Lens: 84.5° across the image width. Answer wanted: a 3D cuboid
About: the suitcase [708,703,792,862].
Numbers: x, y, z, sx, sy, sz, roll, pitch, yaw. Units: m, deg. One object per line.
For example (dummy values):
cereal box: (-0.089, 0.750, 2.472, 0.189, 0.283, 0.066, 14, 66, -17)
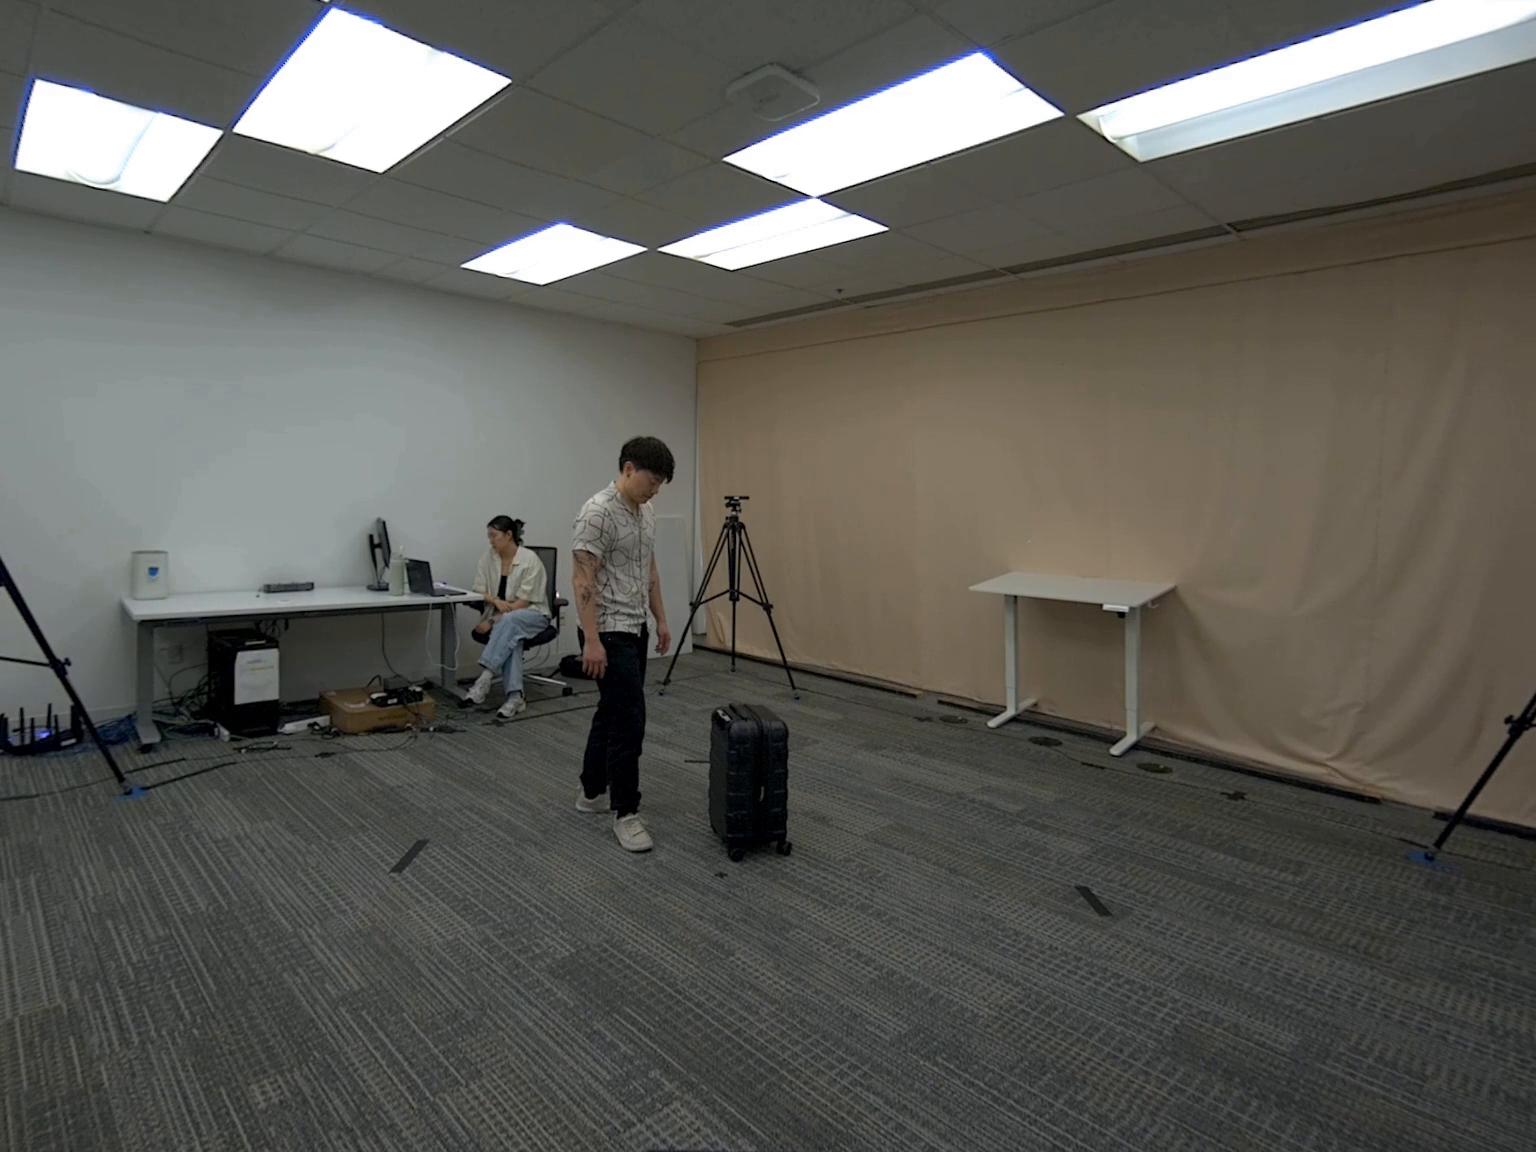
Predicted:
suitcase: (-0.093, 0.800, 3.384, 0.245, 0.548, 0.382, 0, 3, -20)
